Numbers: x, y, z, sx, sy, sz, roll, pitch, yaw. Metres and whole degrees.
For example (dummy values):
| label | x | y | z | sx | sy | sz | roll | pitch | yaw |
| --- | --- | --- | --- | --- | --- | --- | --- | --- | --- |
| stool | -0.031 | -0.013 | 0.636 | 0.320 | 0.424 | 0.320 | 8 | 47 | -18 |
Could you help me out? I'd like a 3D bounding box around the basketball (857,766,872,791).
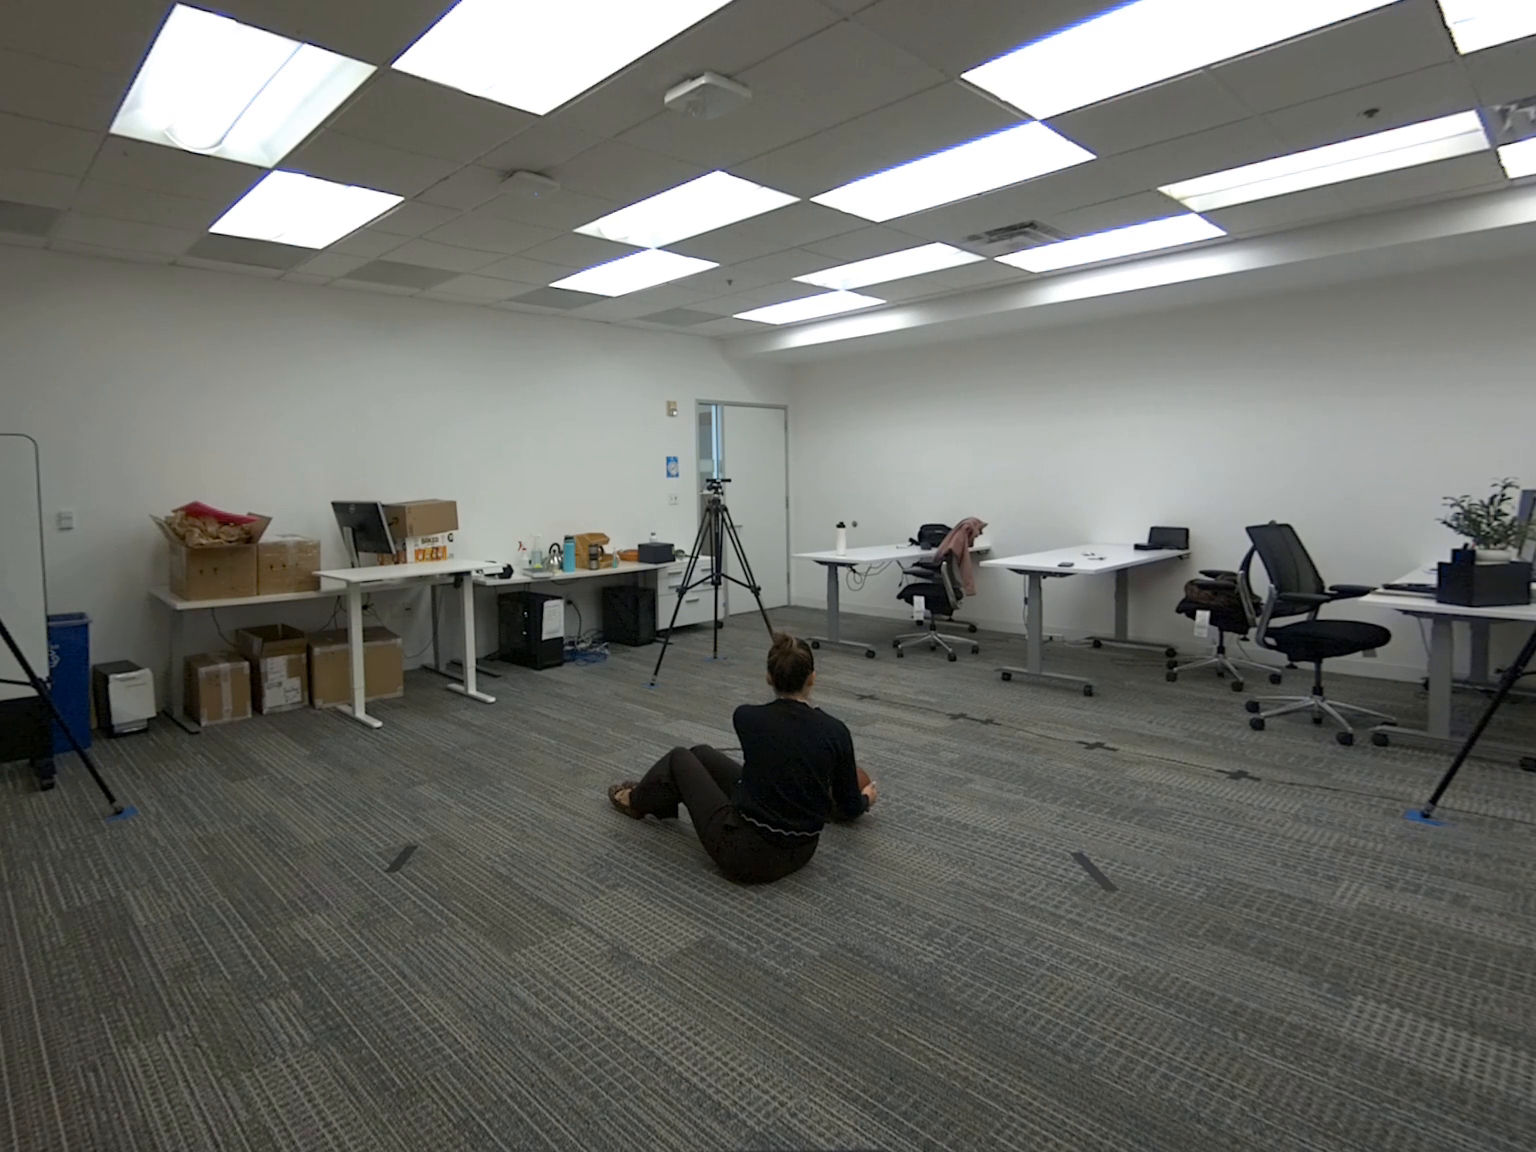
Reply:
| label | x | y | z | sx | sy | sz | roll | pitch | yaw |
| --- | --- | --- | --- | --- | --- | --- | --- | --- | --- |
| basketball | 0.314 | 0.874 | 3.498 | 0.236 | 0.235 | 0.237 | -1 | 5 | -2 |
